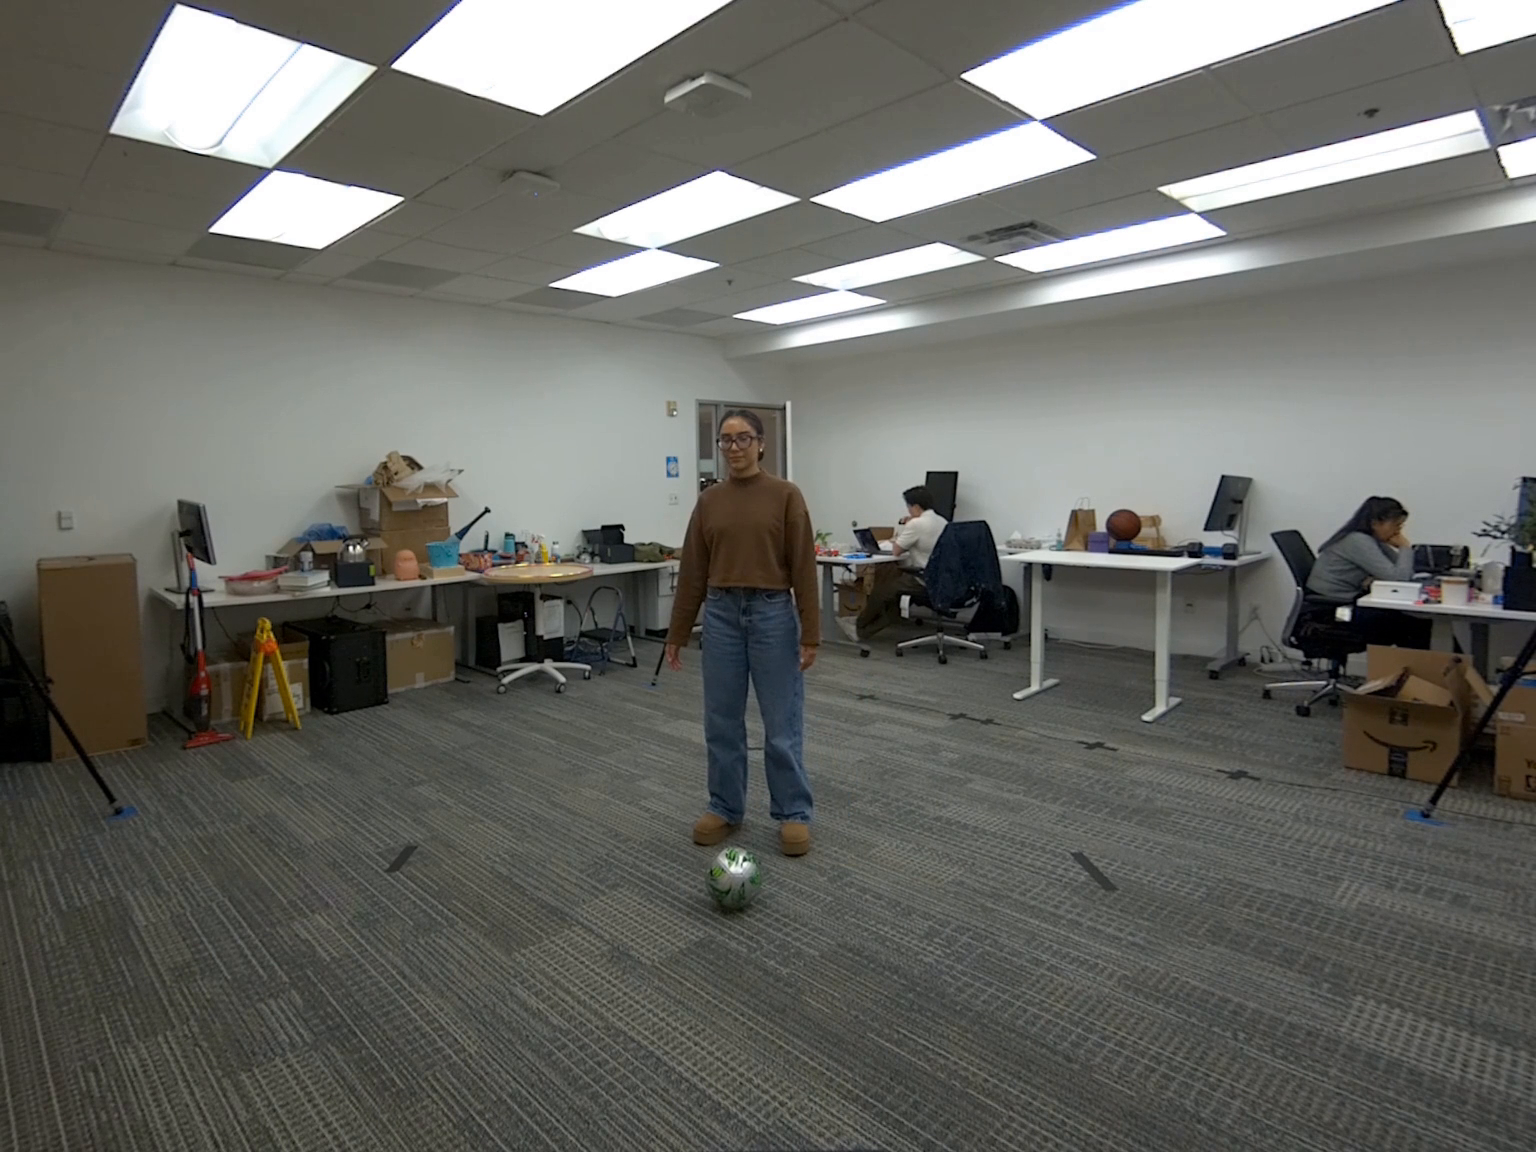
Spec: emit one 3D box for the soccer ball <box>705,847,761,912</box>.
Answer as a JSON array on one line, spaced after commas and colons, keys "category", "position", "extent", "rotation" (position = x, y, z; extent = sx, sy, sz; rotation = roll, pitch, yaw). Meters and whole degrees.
[{"category": "soccer ball", "position": [-0.111, 0.991, 2.797], "extent": [0.187, 0.187, 0.188], "rotation": [-1, 5, -2]}]
